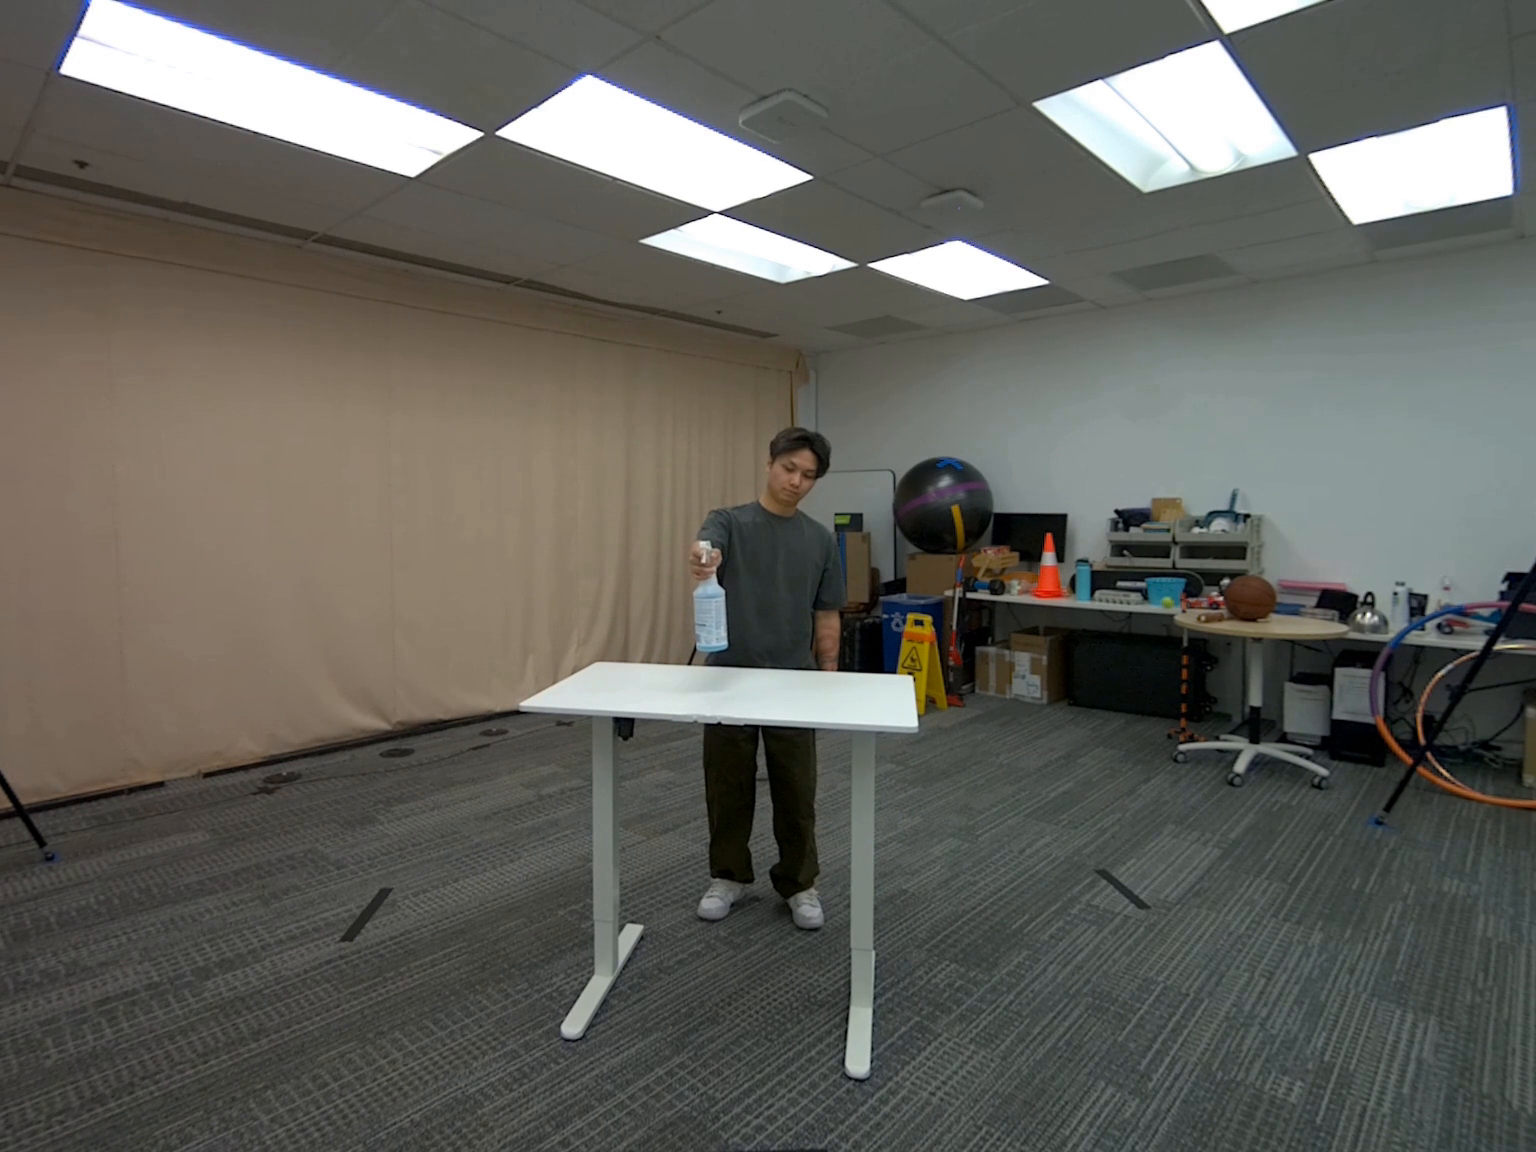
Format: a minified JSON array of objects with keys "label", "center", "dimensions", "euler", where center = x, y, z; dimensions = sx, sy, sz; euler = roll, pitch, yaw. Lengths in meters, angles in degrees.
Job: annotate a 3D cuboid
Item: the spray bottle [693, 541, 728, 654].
[{"label":"spray bottle","center":[-0.163,0.056,2.286],"dimensions":[0.090,0.296,0.087],"euler":[3,6,35]}]
